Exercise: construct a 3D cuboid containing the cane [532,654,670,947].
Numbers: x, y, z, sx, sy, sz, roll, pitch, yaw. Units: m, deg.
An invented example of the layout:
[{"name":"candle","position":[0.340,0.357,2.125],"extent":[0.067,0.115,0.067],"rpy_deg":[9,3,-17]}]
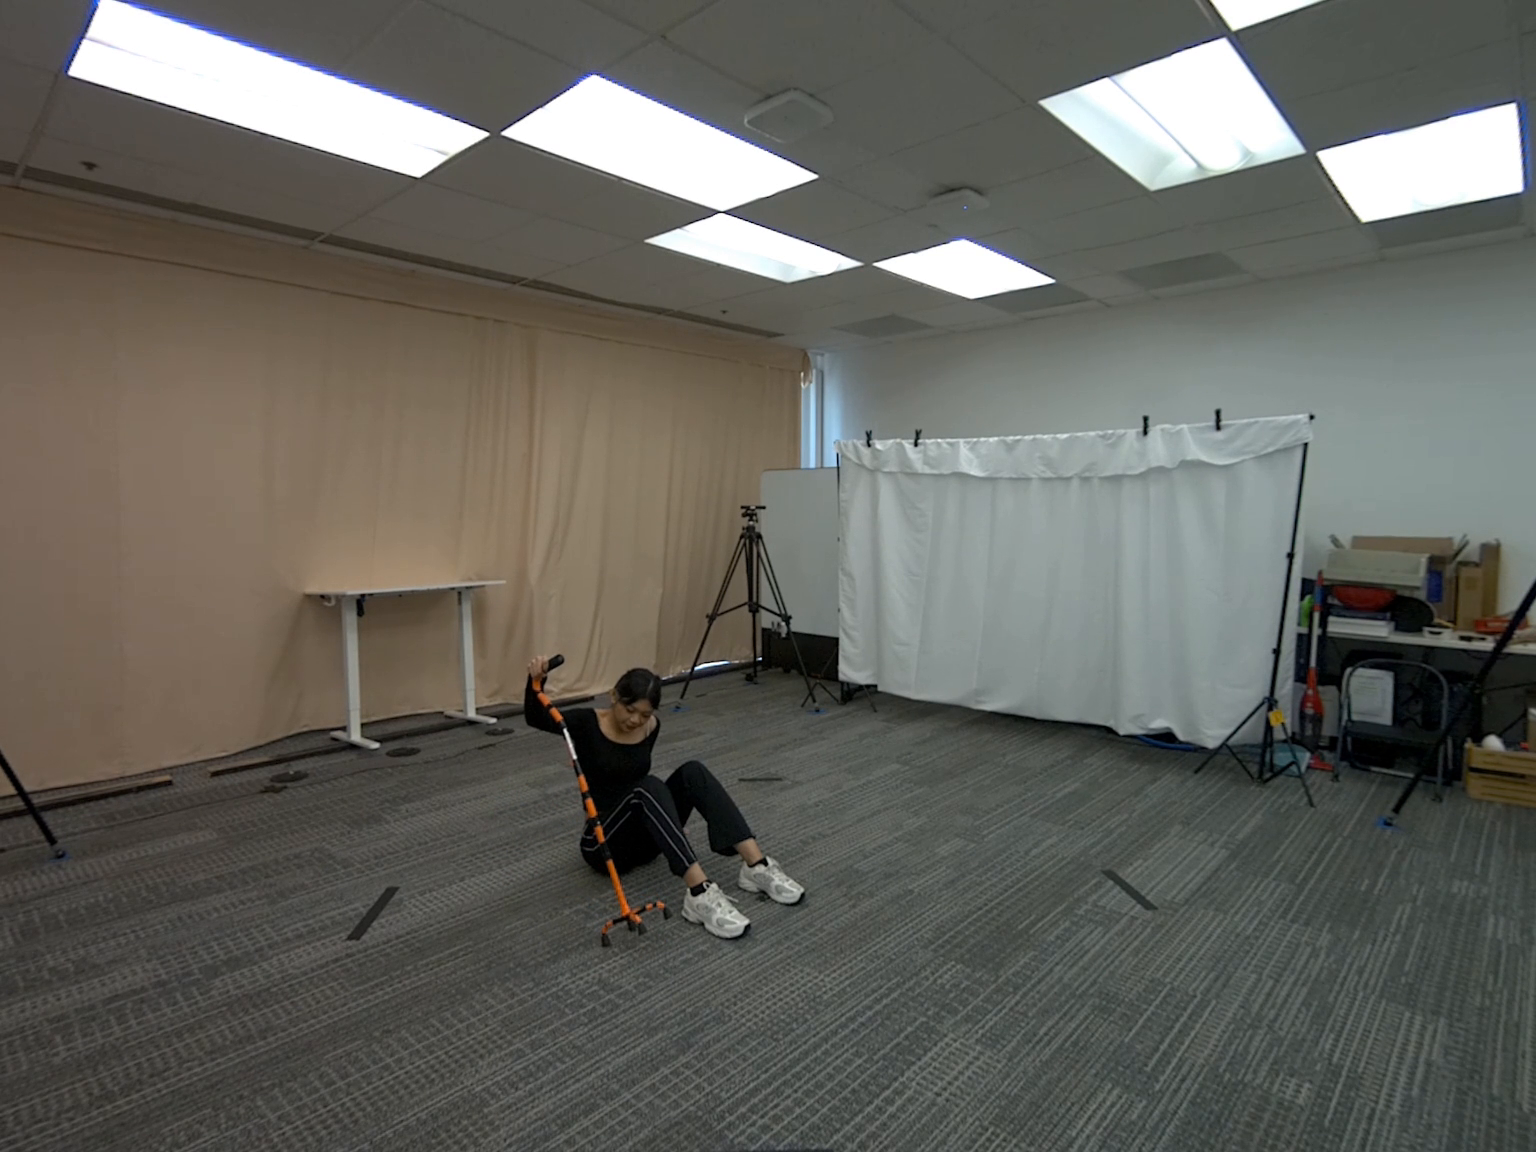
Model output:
[{"name":"cane","position":[-0.583,0.711,2.773],"extent":[0.210,0.919,0.147],"rpy_deg":[-28,-14,27]}]
